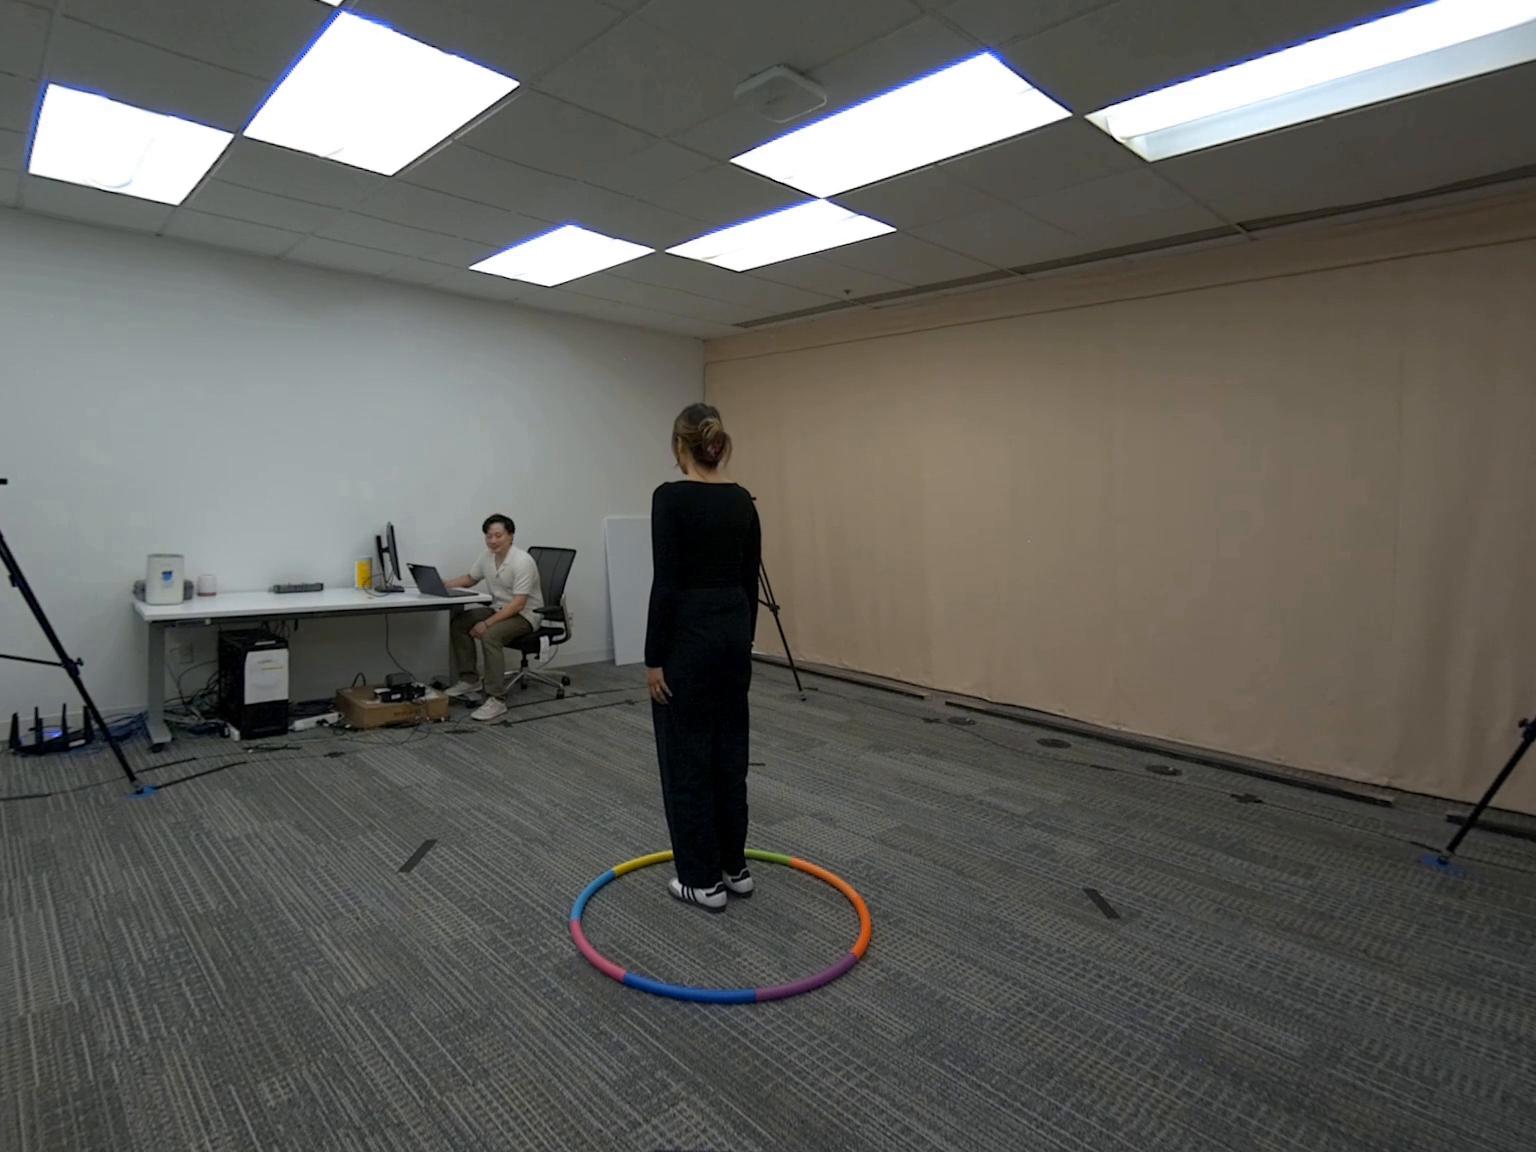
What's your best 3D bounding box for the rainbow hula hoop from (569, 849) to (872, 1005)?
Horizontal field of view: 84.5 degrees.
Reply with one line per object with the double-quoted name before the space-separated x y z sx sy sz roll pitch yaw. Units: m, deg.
"rainbow hula hoop" -0.165 1.107 2.800 0.978 0.035 0.982 1 5 -1
